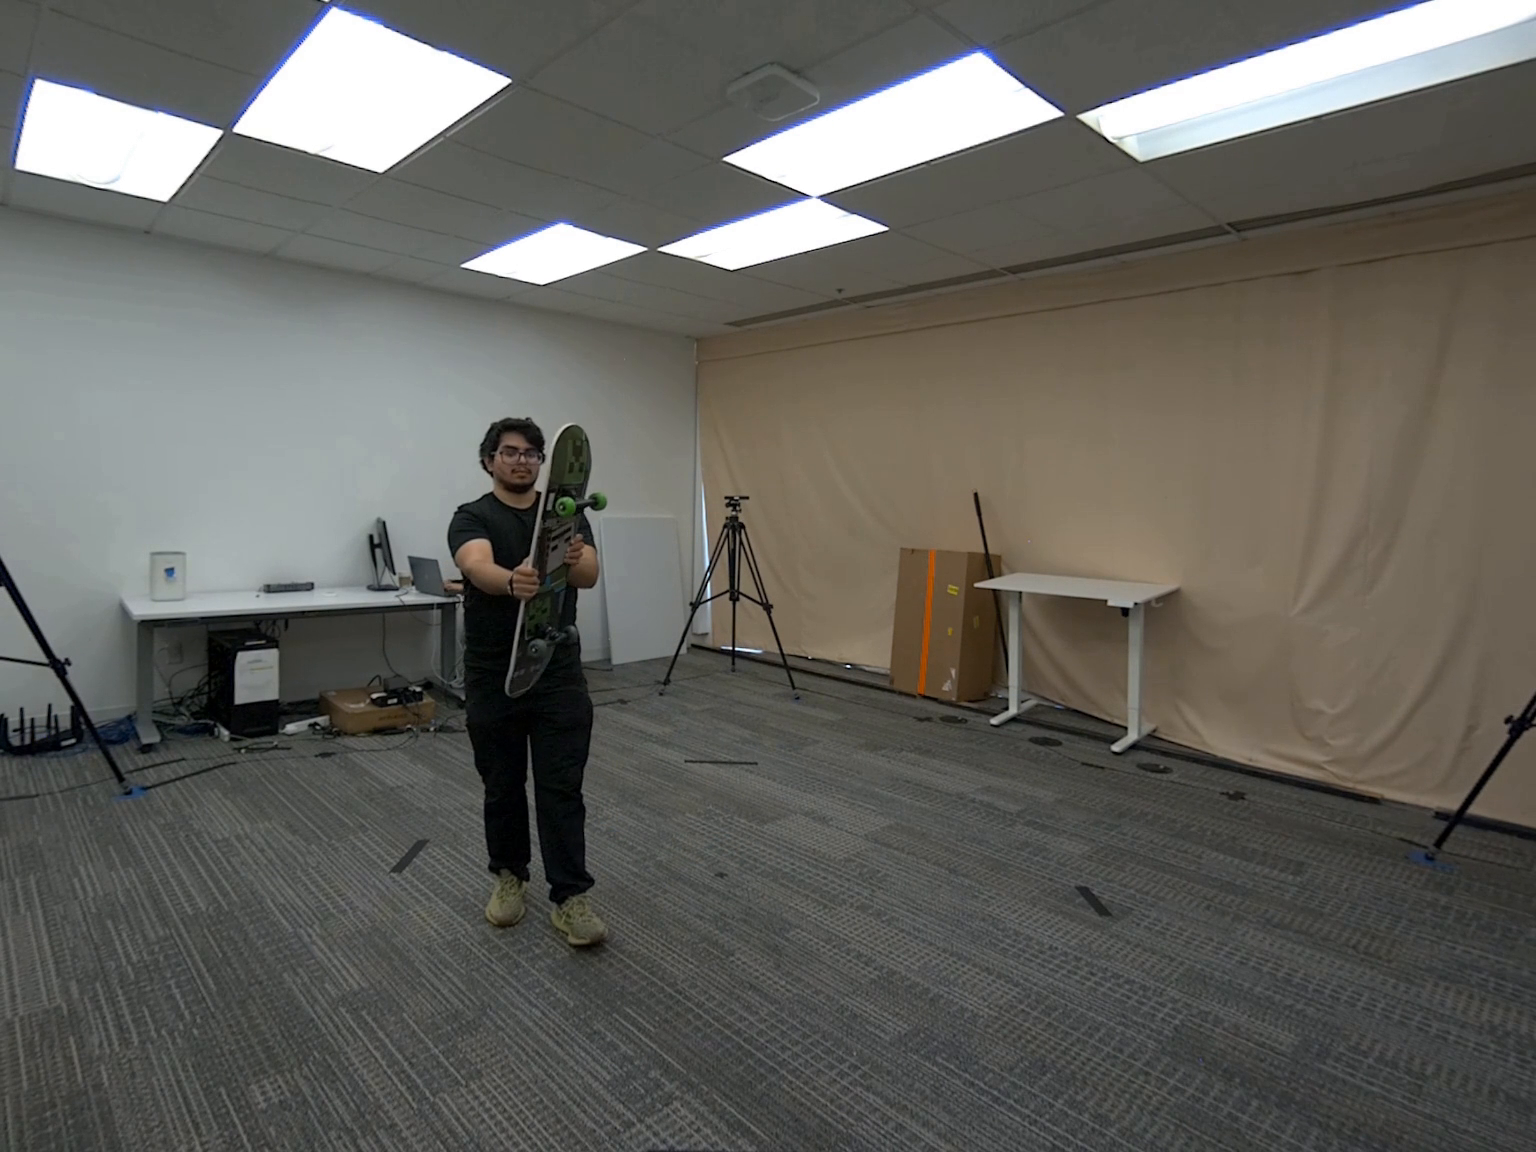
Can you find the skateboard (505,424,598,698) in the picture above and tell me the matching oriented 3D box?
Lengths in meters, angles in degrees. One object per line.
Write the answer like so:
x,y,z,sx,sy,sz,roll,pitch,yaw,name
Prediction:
-0.567,-0.010,2.271,0.112,0.779,0.191,19,16,18,skateboard
